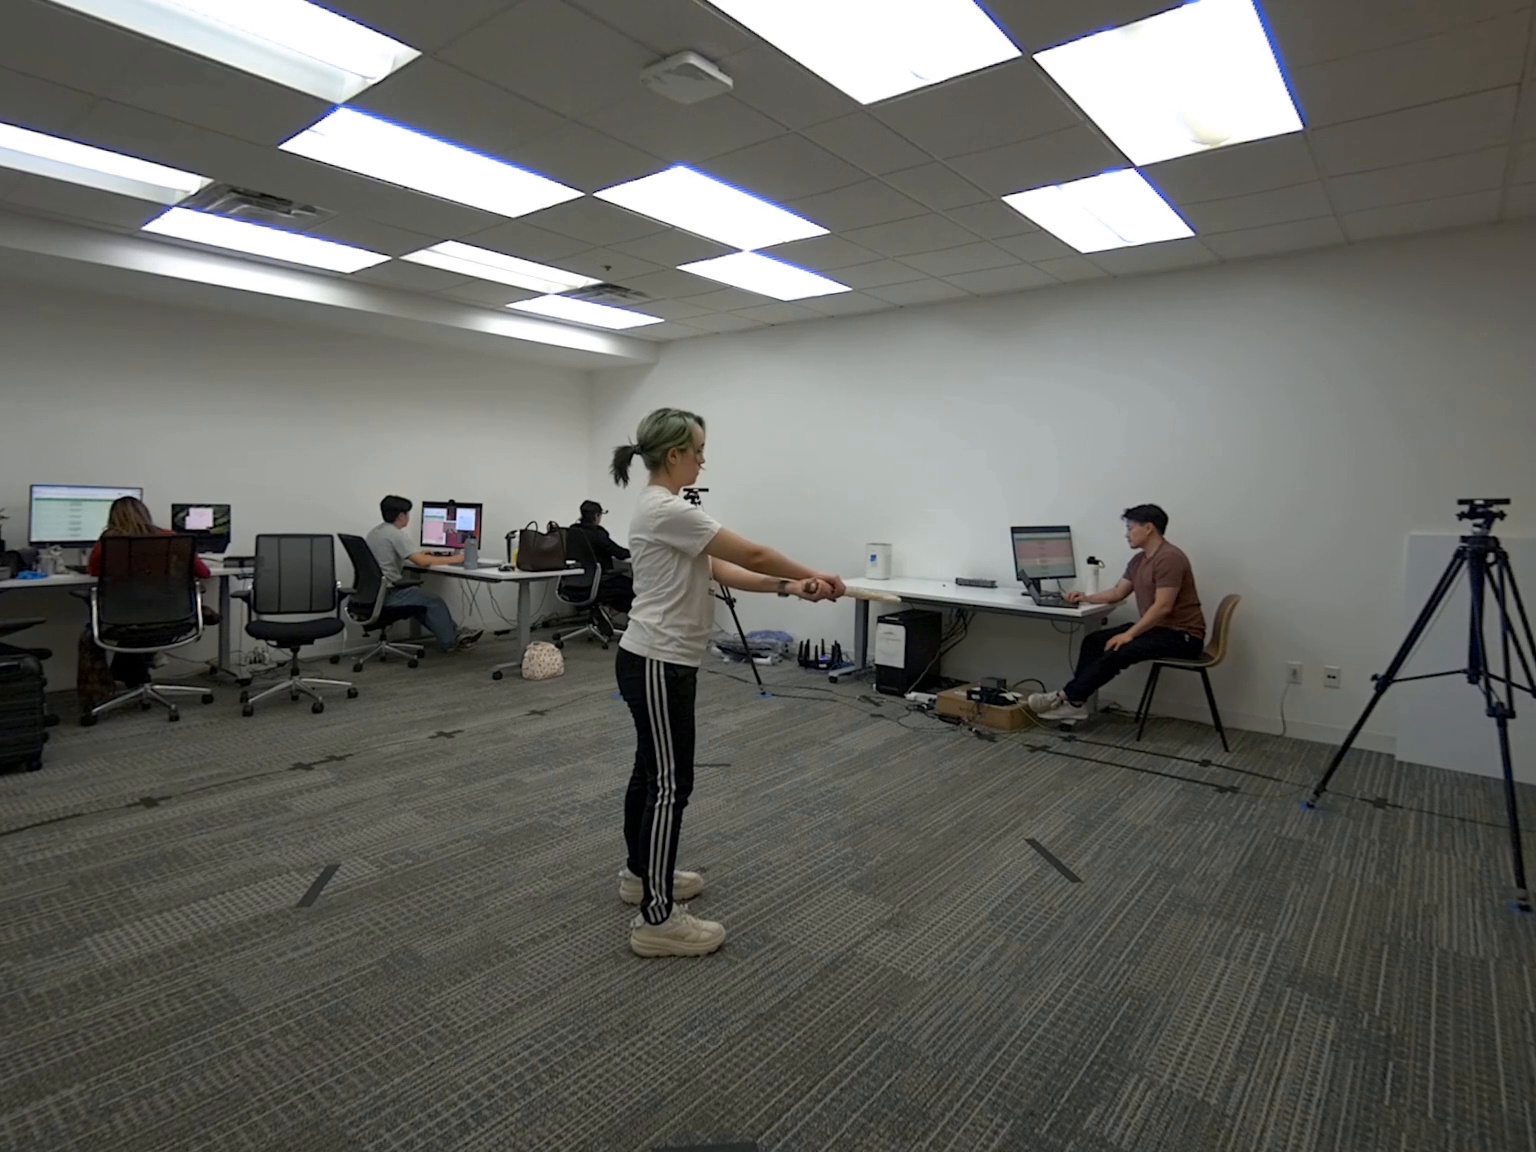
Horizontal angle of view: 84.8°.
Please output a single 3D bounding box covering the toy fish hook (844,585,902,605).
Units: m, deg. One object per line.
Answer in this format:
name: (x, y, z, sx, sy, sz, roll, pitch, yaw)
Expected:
toy fish hook: (0.272, 0.059, 2.777, 0.231, 0.048, 0.491, 5, 1, 30)
